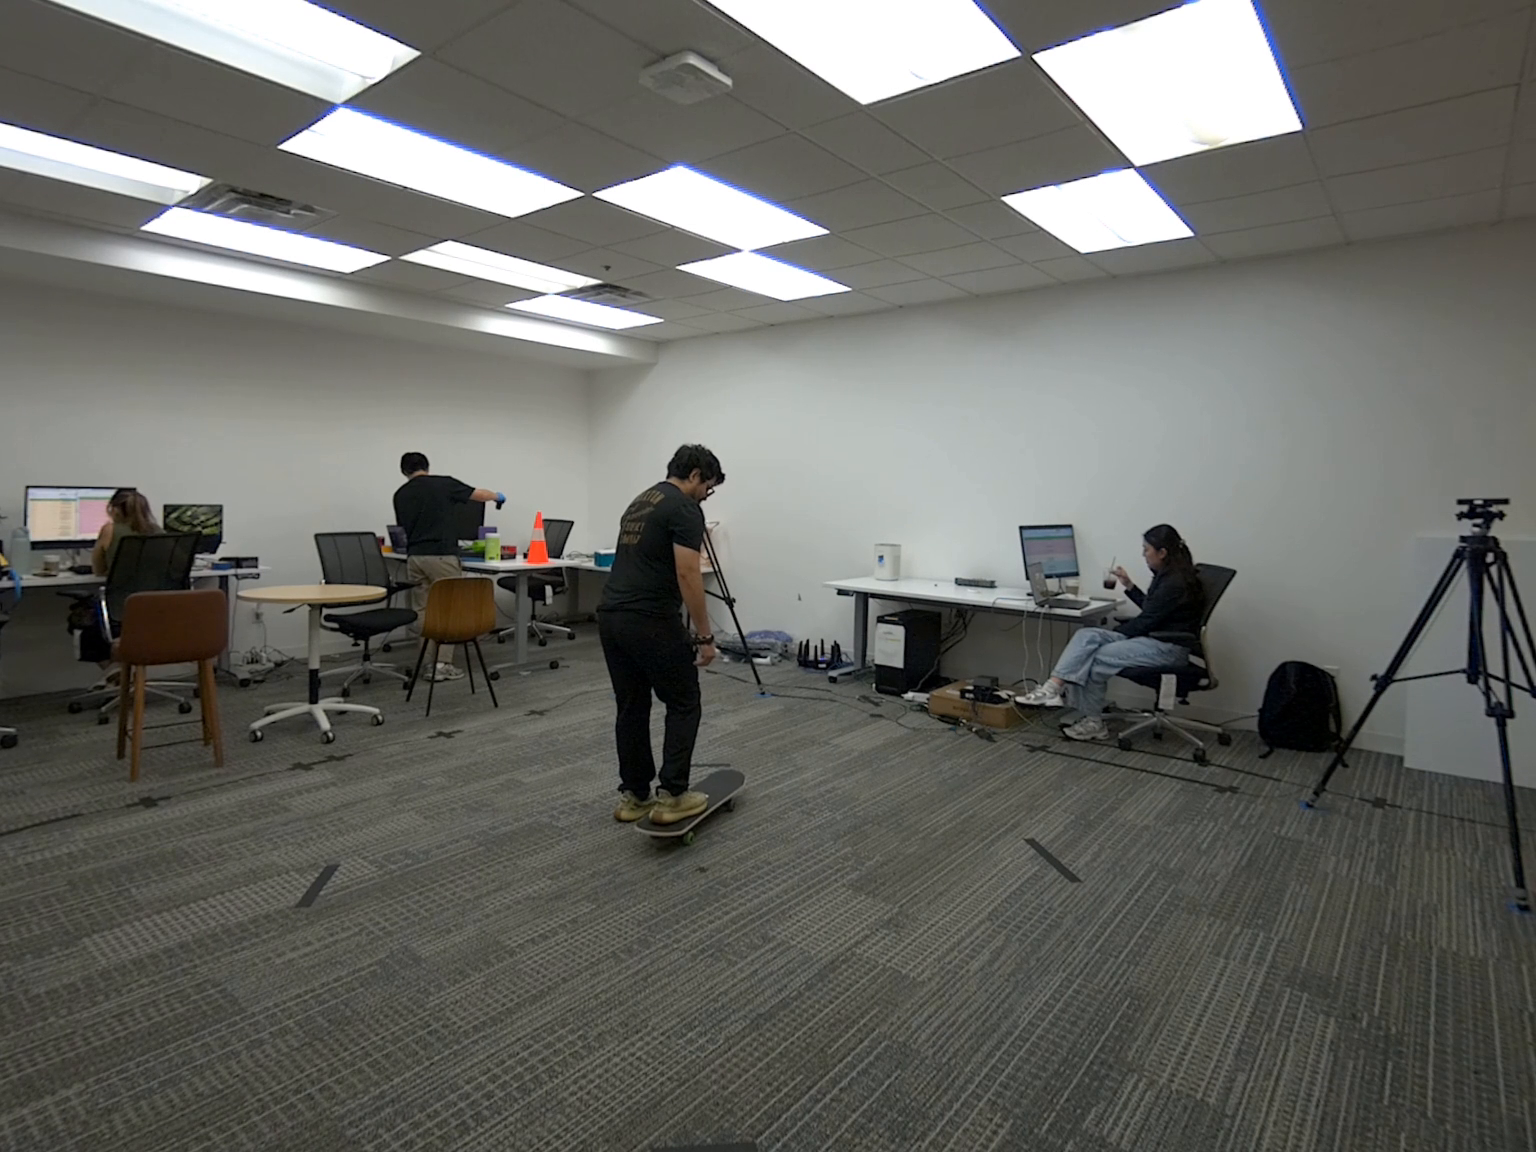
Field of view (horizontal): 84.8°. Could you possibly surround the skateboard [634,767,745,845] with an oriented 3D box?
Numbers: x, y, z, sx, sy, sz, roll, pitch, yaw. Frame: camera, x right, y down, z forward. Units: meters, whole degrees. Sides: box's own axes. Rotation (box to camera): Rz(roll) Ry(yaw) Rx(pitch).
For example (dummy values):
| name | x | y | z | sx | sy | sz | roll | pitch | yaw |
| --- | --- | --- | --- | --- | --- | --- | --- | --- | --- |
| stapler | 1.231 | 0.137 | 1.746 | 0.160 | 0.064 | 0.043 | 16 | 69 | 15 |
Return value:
| name | x | y | z | sx | sy | sz | roll | pitch | yaw |
| --- | --- | --- | --- | --- | --- | --- | --- | --- | --- |
| skateboard | -0.319 | 0.974 | 3.541 | 0.198 | 0.110 | 0.769 | 2 | 6 | 23 |
